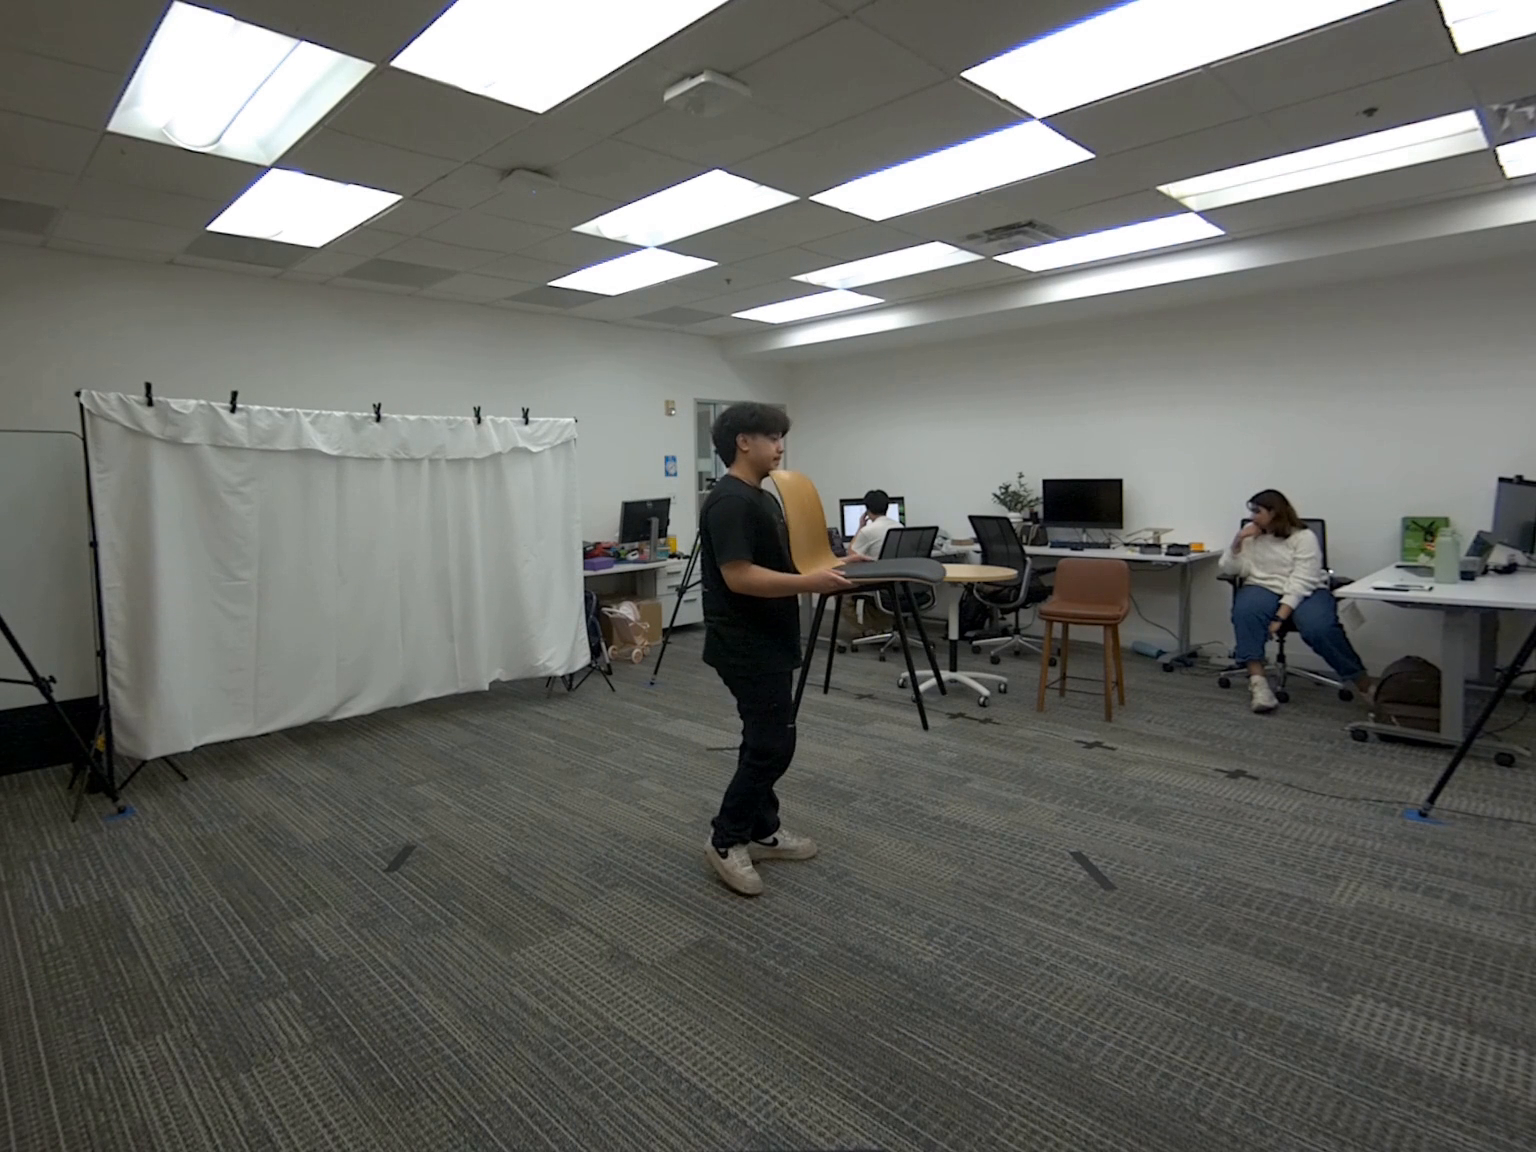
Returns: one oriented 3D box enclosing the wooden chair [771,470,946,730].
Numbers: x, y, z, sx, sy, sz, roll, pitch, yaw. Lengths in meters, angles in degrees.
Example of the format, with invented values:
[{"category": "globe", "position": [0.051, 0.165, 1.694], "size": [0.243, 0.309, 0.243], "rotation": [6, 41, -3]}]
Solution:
[{"category": "wooden chair", "position": [0.324, 0.041, 2.894], "size": [0.532, 0.877, 0.470], "rotation": [-7, 1, 21]}]
